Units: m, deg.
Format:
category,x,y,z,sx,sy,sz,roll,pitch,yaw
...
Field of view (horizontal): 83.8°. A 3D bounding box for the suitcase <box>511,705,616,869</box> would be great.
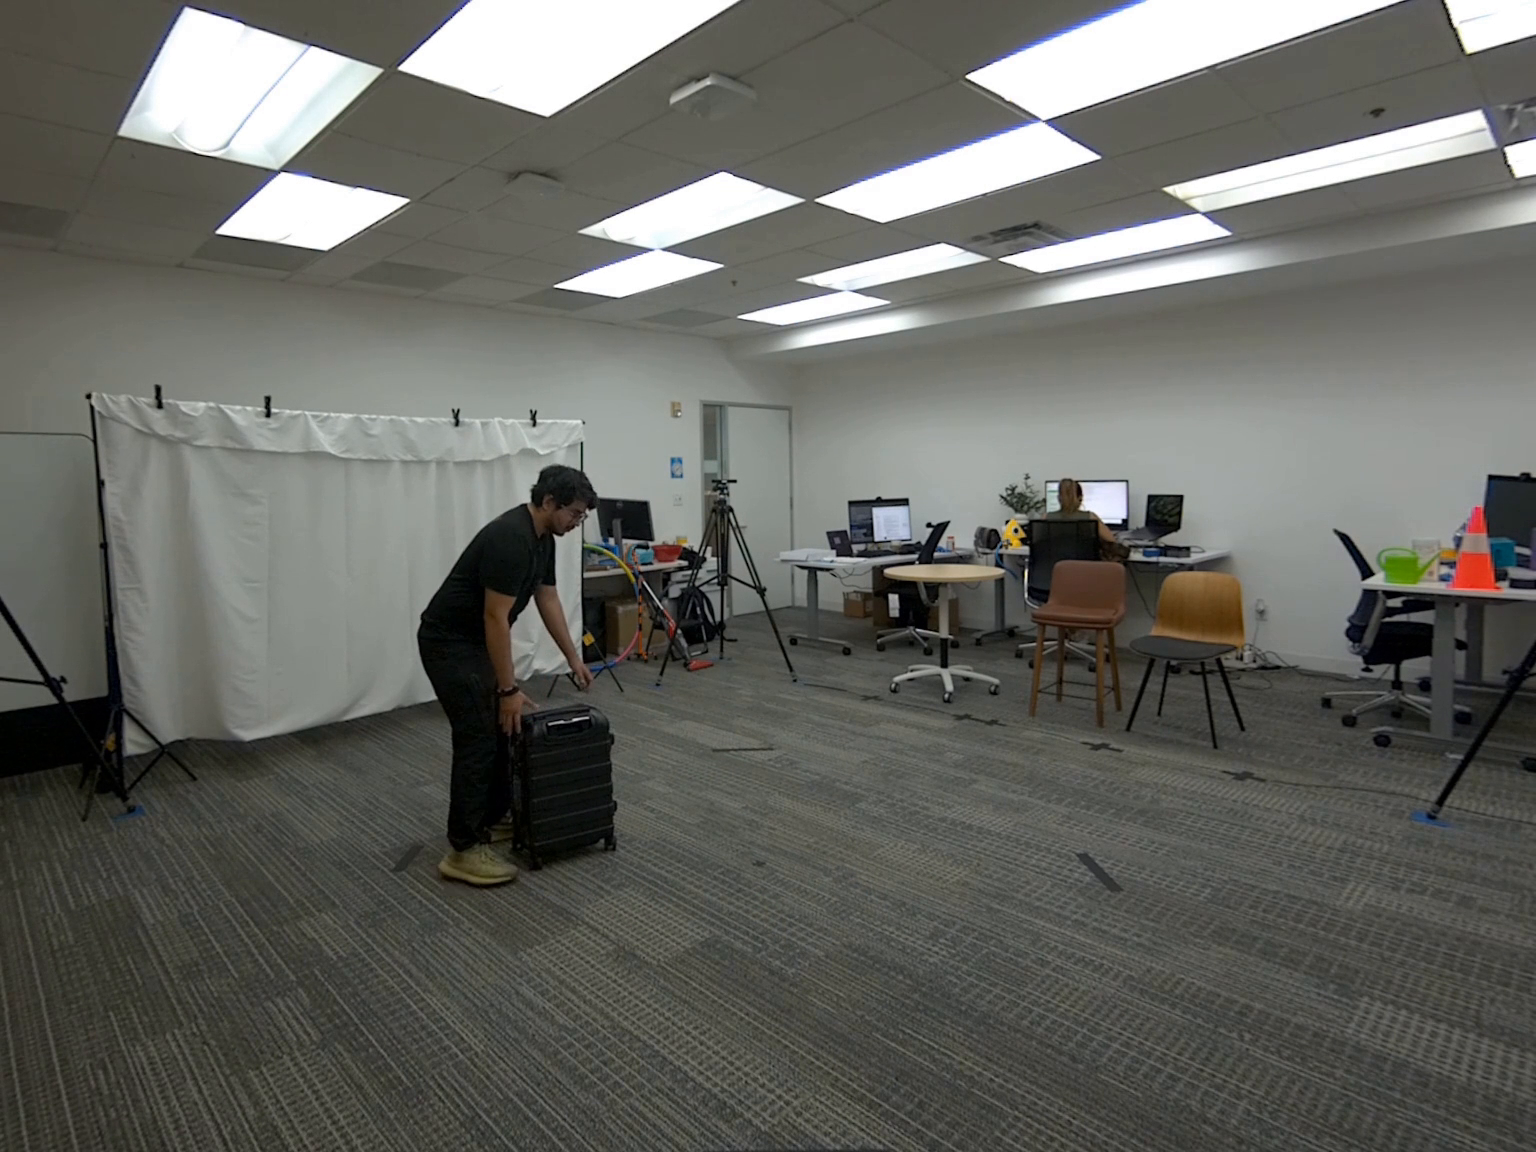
category,x,y,z,sx,sy,sz,roll,pitch,yaw
suitcase,-0.784,0.769,3.236,0.366,0.547,0.255,-5,6,-32
